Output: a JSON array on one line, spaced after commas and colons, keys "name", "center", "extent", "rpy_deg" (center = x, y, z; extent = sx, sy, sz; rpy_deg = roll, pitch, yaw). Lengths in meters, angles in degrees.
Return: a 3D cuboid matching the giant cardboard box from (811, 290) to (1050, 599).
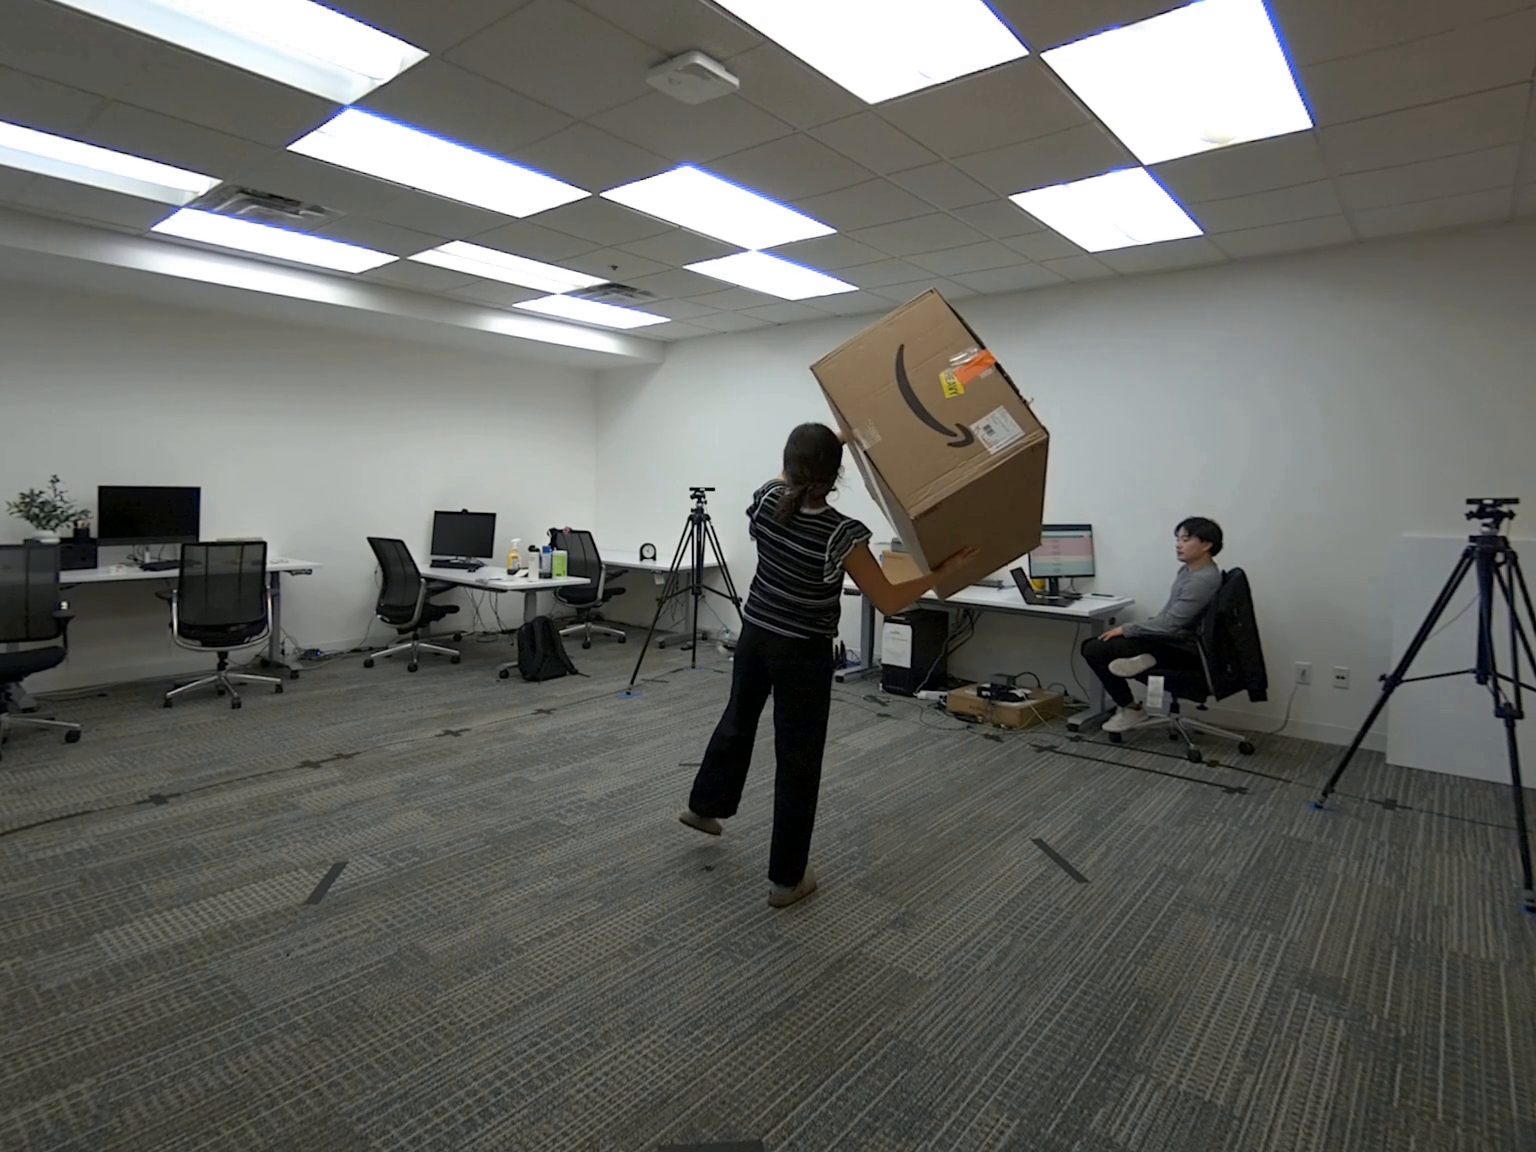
[{"name": "giant cardboard box", "center": [0.551, -0.373, 2.823], "extent": [0.427, 0.594, 0.994], "rpy_deg": [-32, -21, 7]}]
